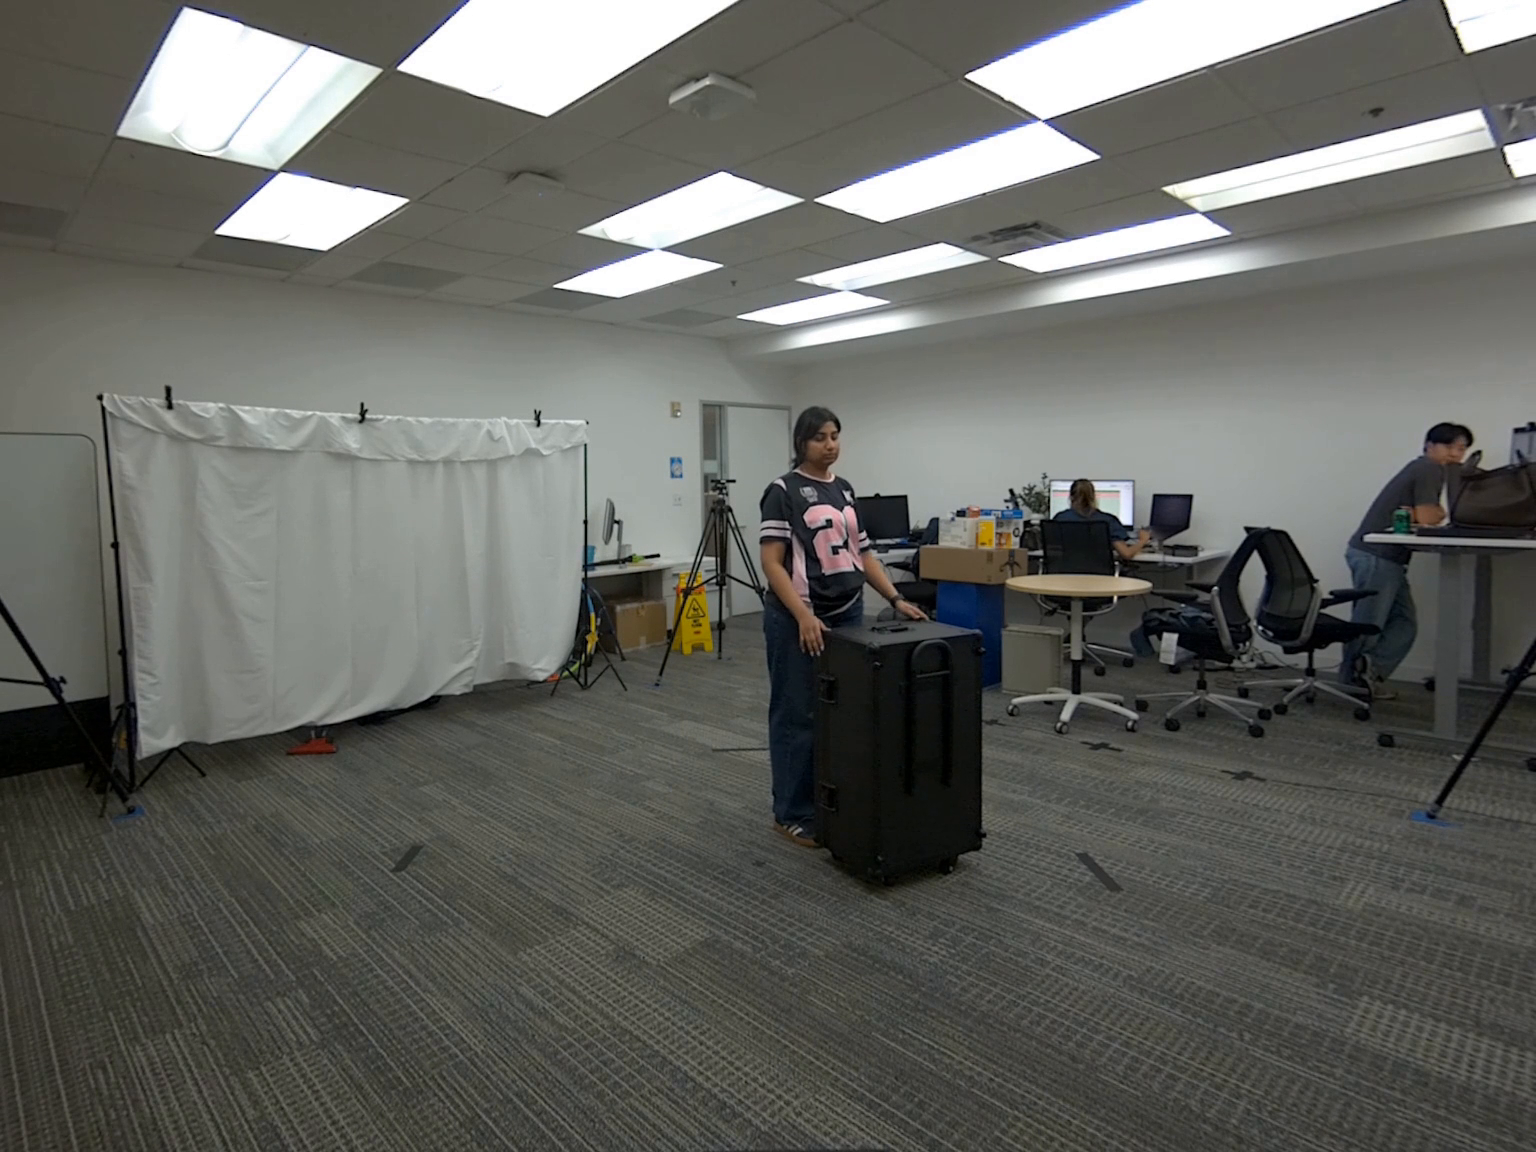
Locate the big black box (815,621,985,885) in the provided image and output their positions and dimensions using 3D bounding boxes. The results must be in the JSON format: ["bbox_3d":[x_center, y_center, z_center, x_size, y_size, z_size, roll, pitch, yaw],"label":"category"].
[{"bbox_3d":[0.476,0.623,3.046,0.512,0.865,0.395,-4,5,-28],"label":"big black box"}]
